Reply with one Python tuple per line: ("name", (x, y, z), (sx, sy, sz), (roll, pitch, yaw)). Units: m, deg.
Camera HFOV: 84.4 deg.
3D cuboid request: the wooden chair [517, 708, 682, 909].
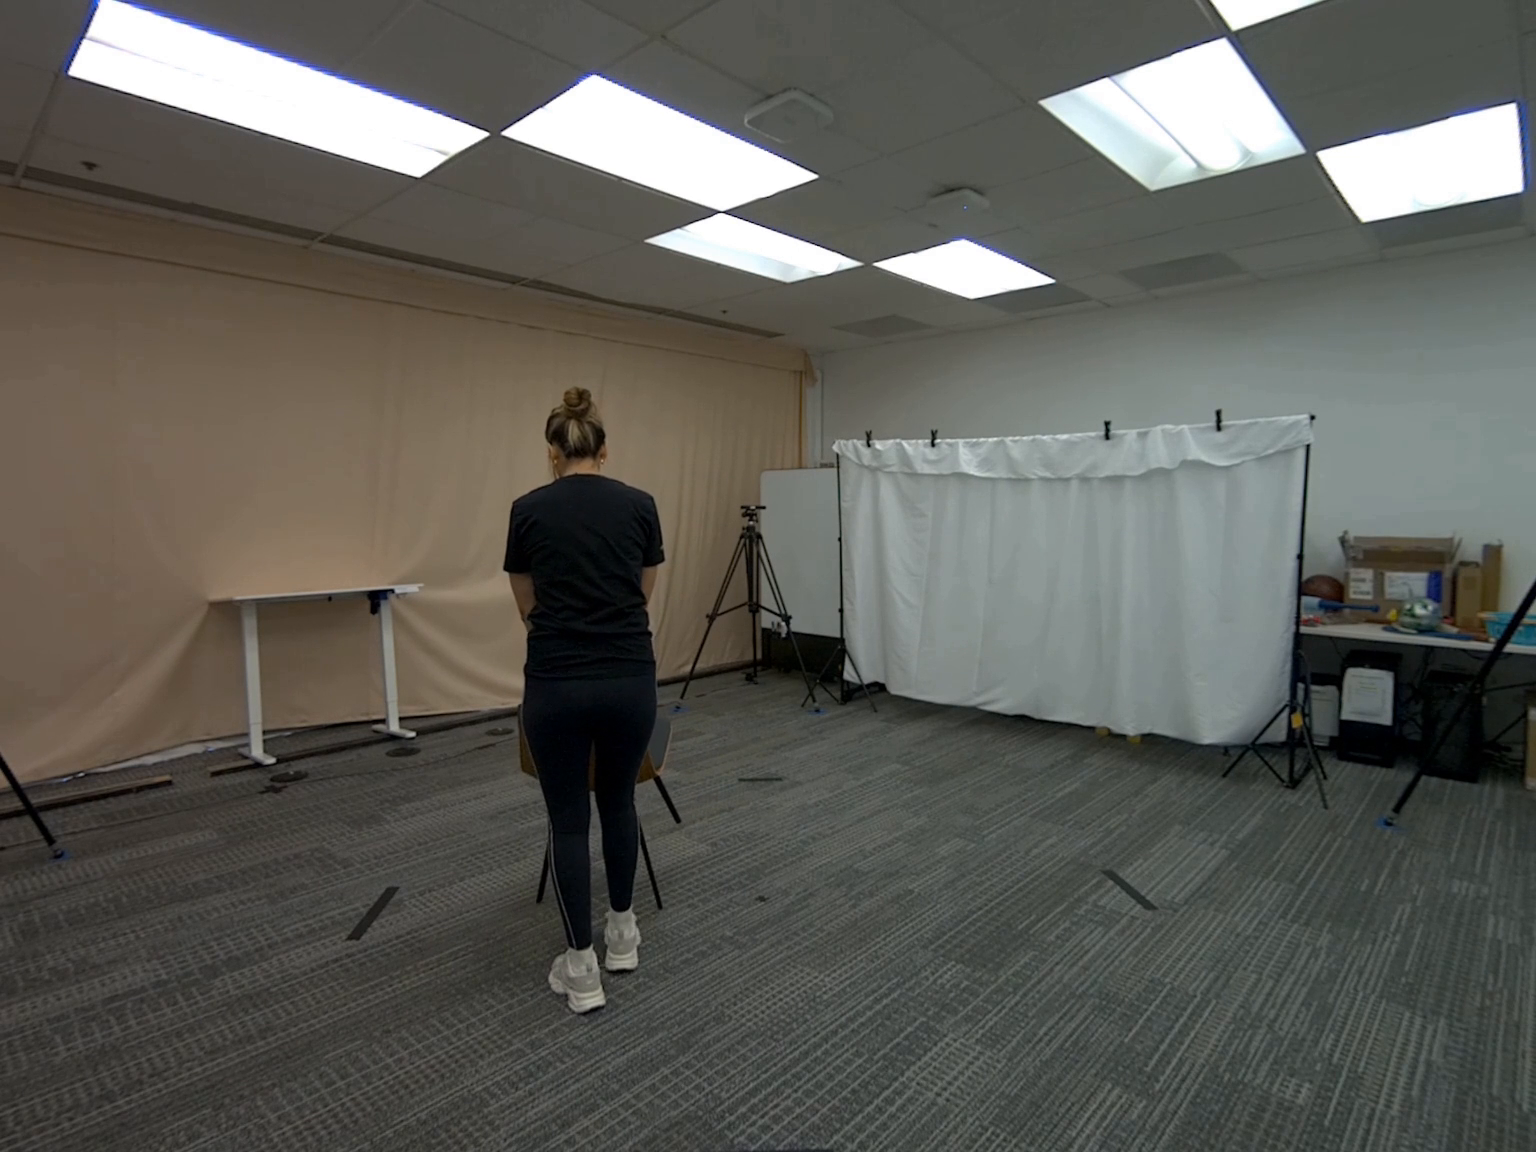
("wooden chair", (-0.595, 0.670, 2.990), (0.481, 0.863, 0.528), (0, 27, 4))
